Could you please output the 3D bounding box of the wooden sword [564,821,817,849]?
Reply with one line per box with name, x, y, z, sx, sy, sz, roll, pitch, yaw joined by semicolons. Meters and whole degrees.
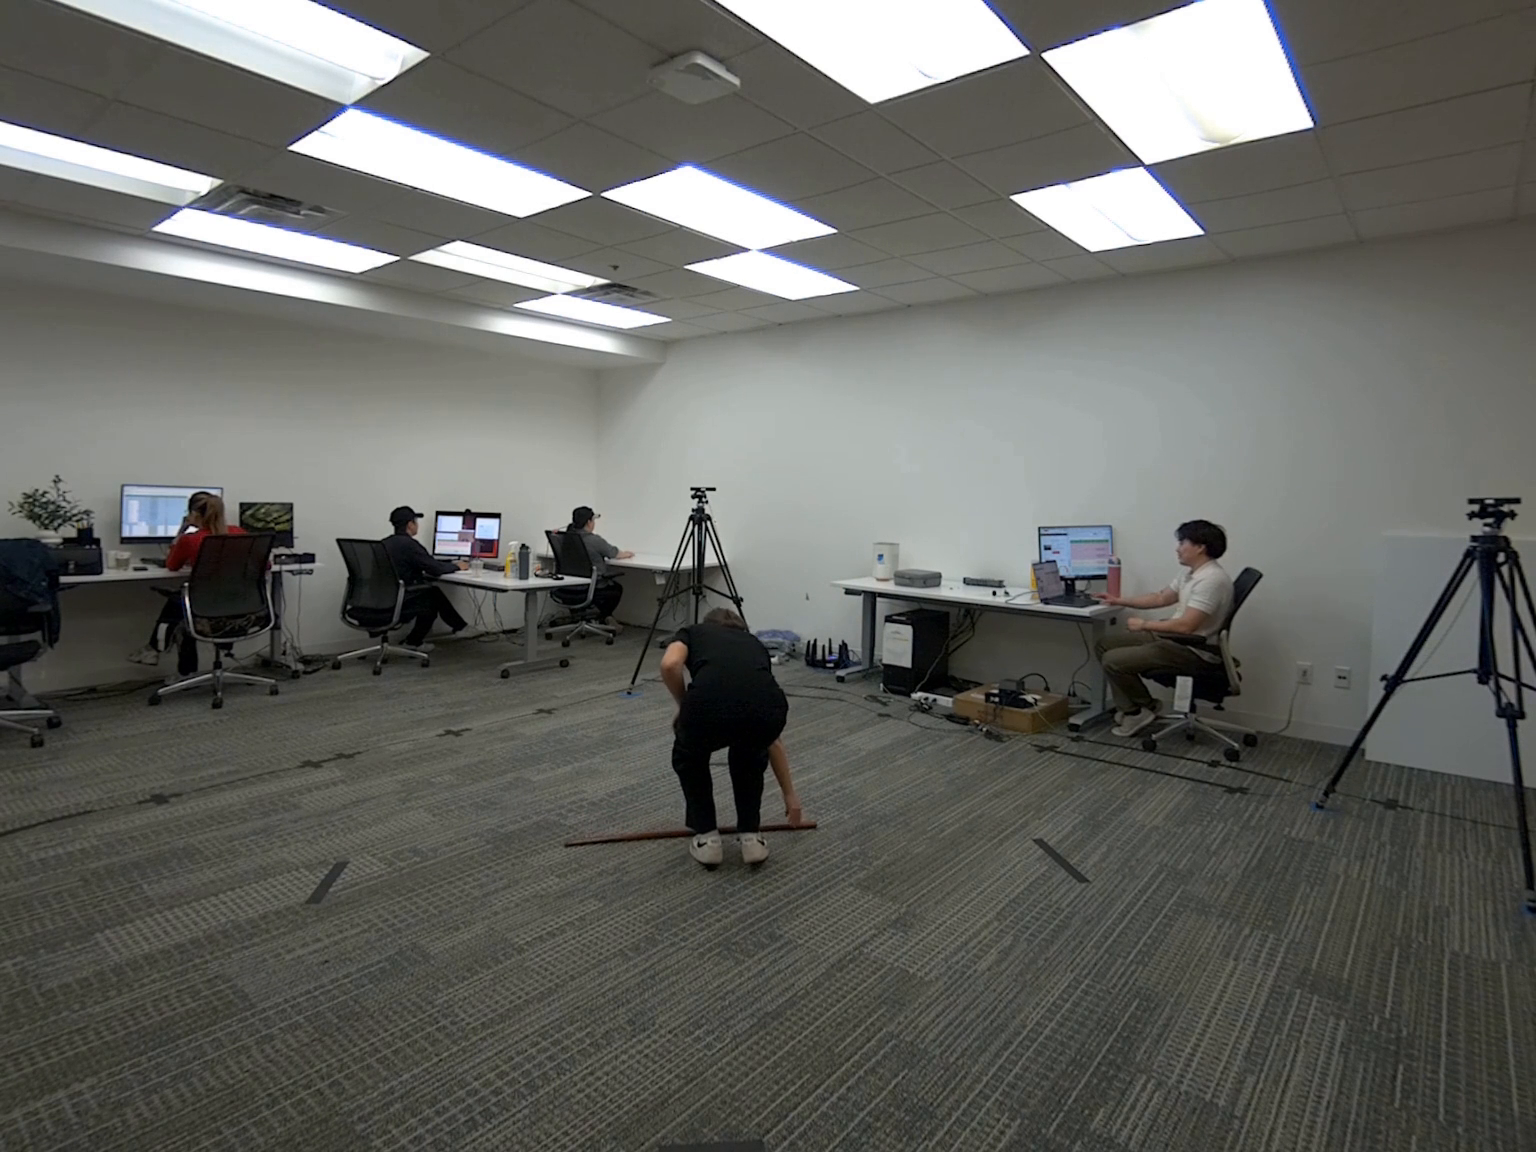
wooden sword;-0.312;1.011;3.400;1.011;0.025;0.050;-1;-42;-12
